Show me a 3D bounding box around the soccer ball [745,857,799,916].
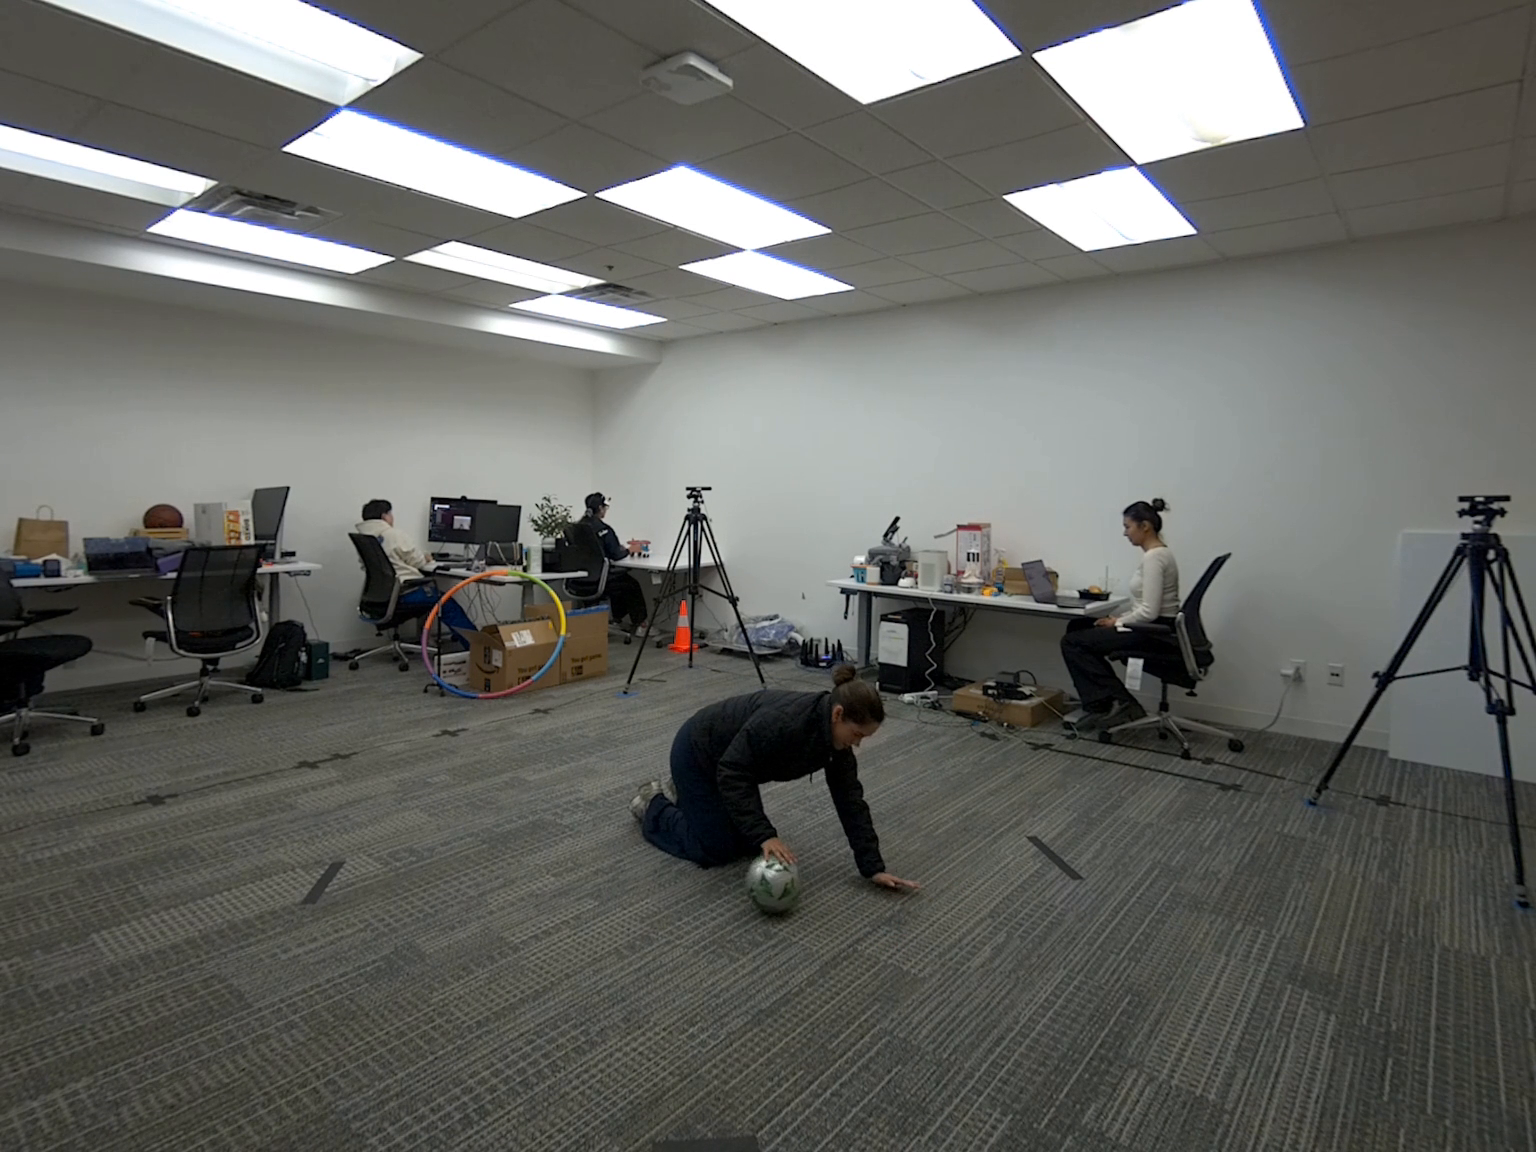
[{"bbox_3d":[0.000,1.000,2.797,0.187,0.187,0.188,1,4,-2],"label":"soccer ball"}]
